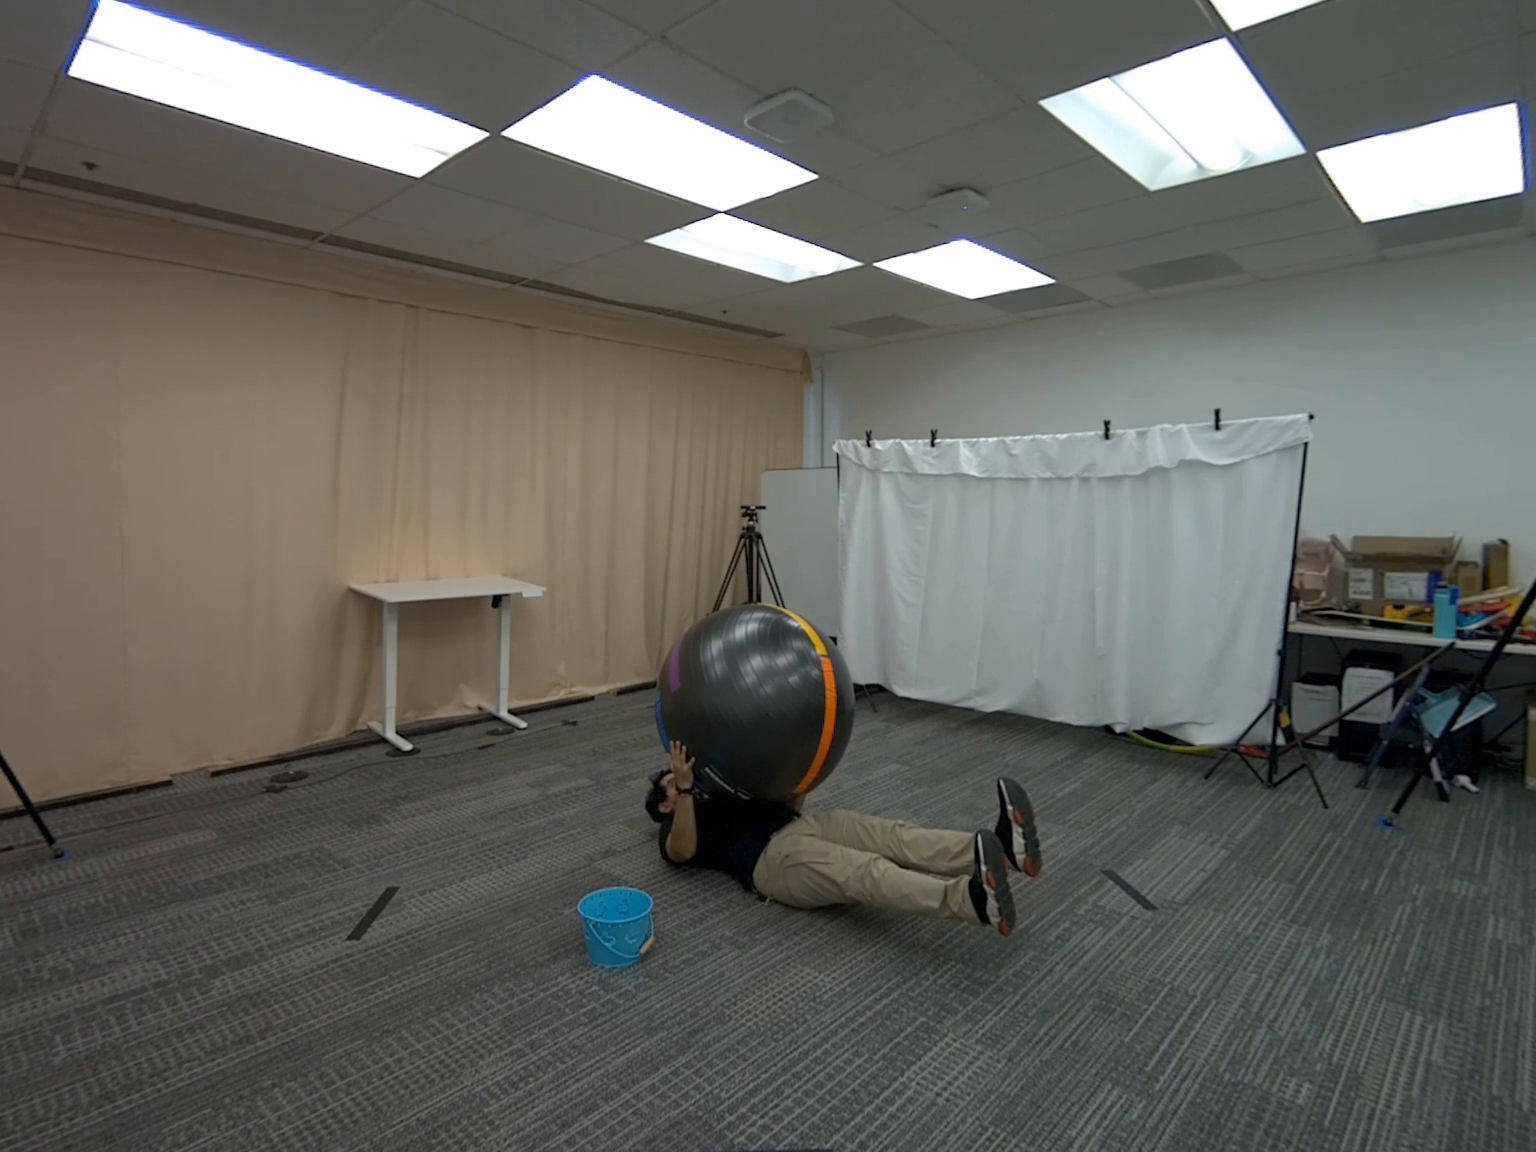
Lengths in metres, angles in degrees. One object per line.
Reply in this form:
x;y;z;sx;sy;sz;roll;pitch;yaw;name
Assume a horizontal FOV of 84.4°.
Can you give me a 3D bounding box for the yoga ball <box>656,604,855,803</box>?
-0.048;0.489;3.203;0.757;0.756;0.761;0;4;-2;yoga ball
